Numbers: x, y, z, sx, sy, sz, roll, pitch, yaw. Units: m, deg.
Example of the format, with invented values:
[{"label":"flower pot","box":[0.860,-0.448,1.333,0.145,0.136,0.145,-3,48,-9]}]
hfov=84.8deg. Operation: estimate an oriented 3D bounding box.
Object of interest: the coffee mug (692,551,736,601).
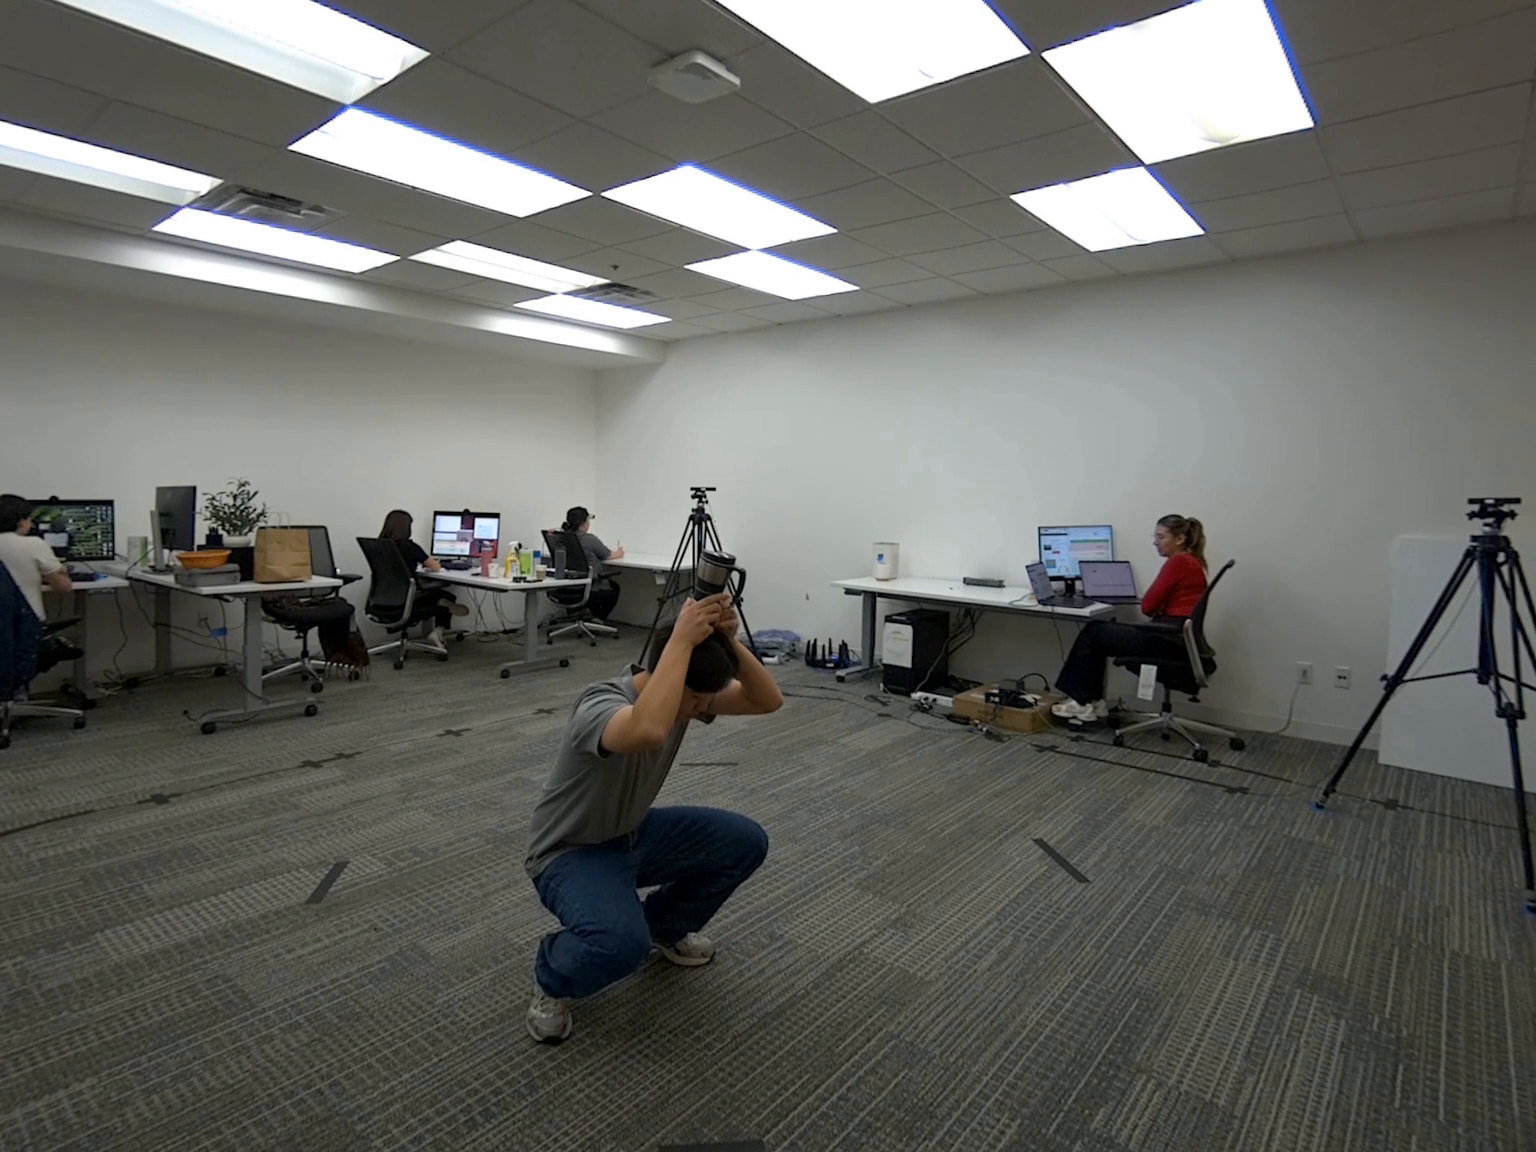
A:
[{"label":"coffee mug","box":[-0.139,0.042,2.115,0.126,0.201,0.085,22,12,27]}]
